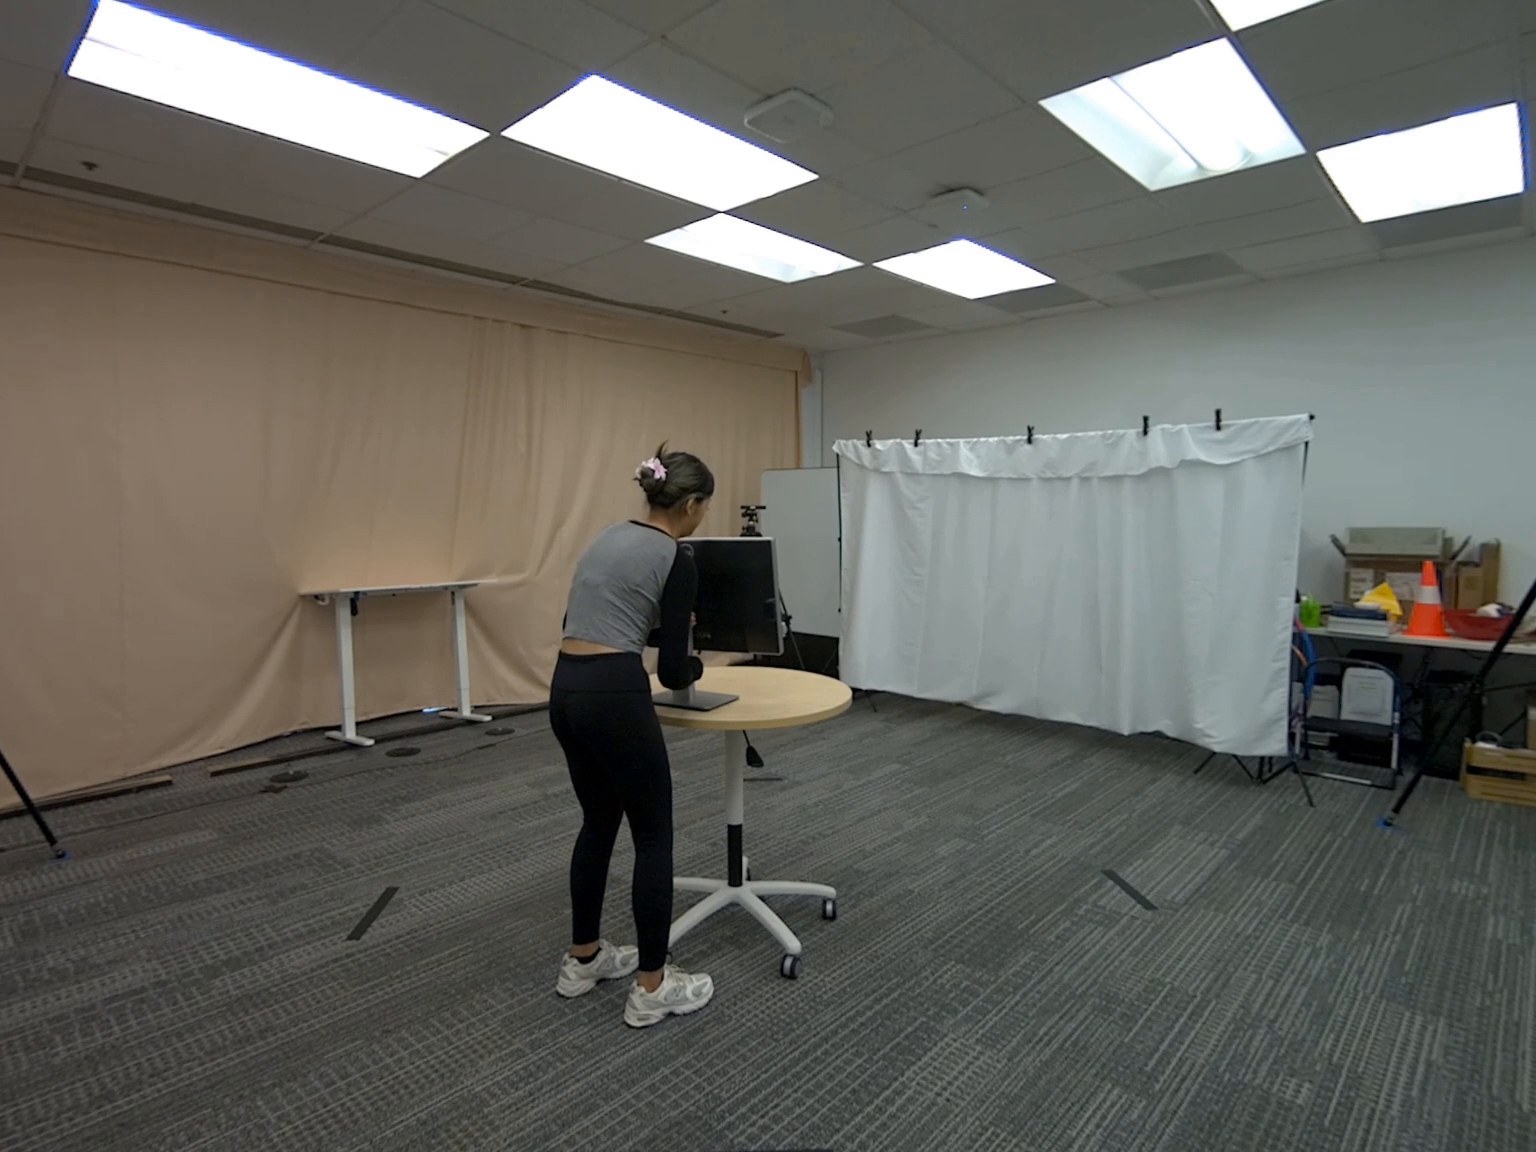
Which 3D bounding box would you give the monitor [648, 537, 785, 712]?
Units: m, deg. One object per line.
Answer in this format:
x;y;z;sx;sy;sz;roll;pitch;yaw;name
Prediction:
-0.243;0.144;2.593;0.552;0.522;0.183;1;1;23;monitor
